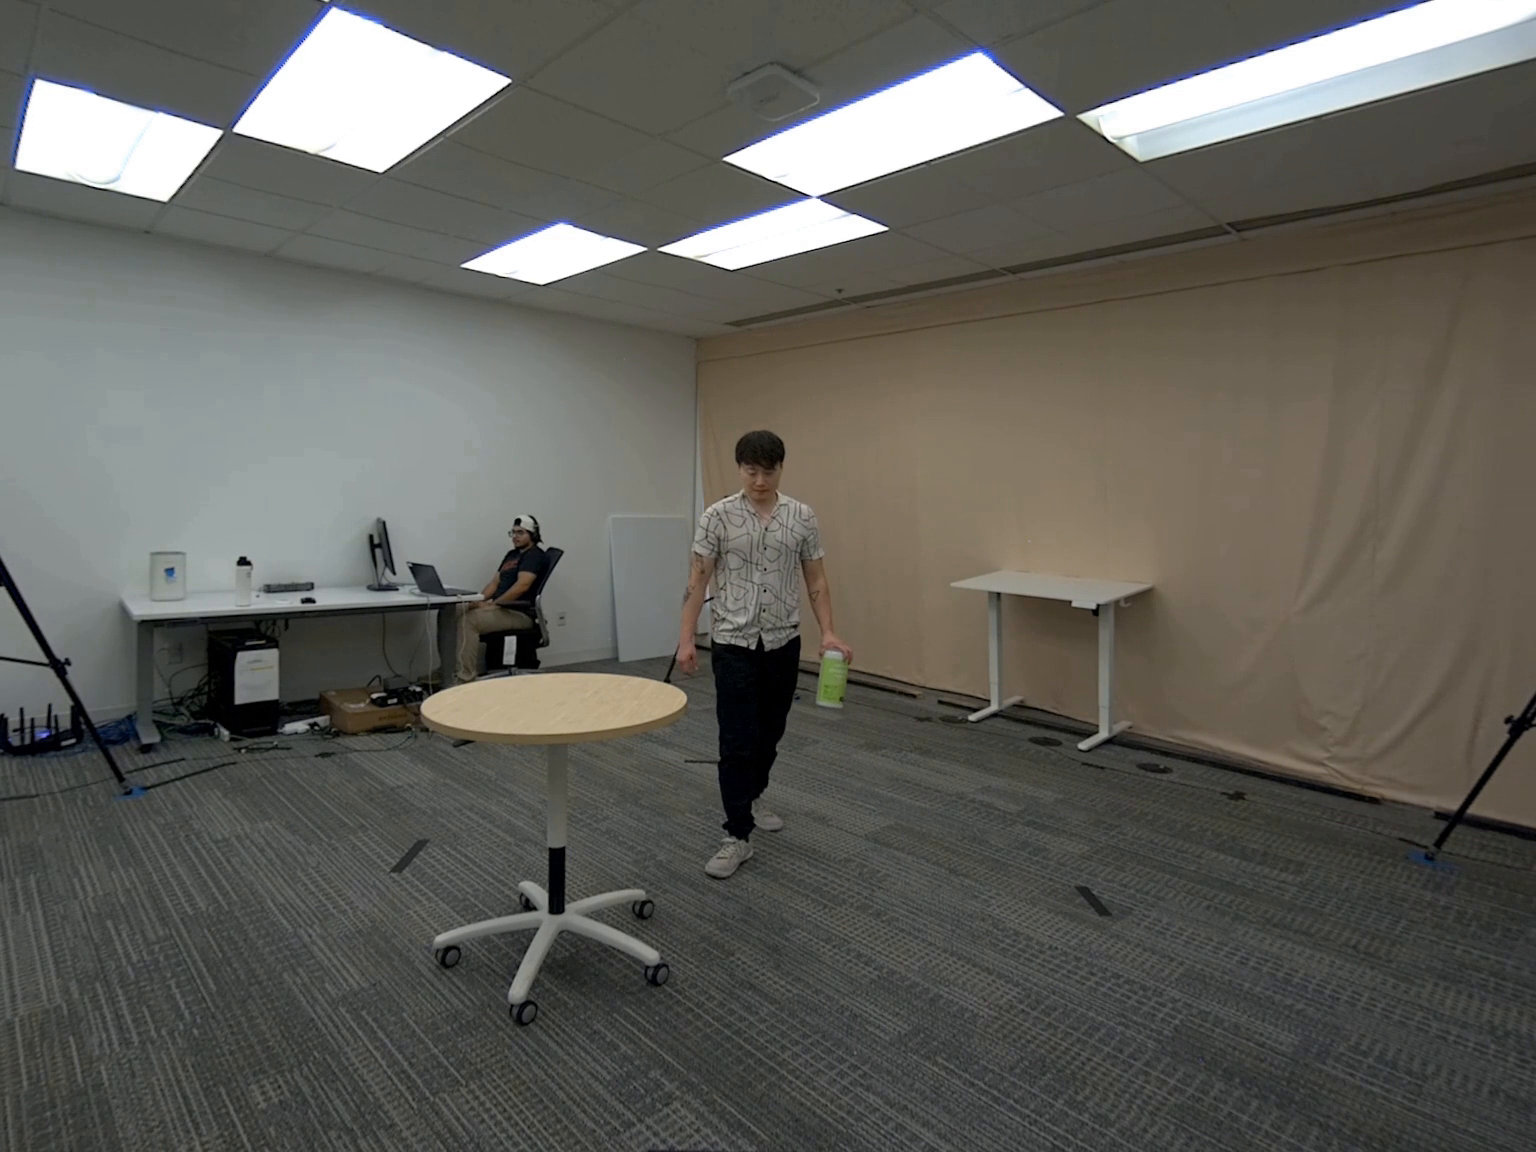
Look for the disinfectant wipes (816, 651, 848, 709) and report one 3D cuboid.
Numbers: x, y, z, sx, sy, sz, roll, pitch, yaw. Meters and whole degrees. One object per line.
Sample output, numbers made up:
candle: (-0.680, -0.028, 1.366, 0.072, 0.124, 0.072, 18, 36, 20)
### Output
disinfectant wipes: (0.238, 0.400, 3.284, 0.118, 0.218, 0.117, 8, -4, -1)
